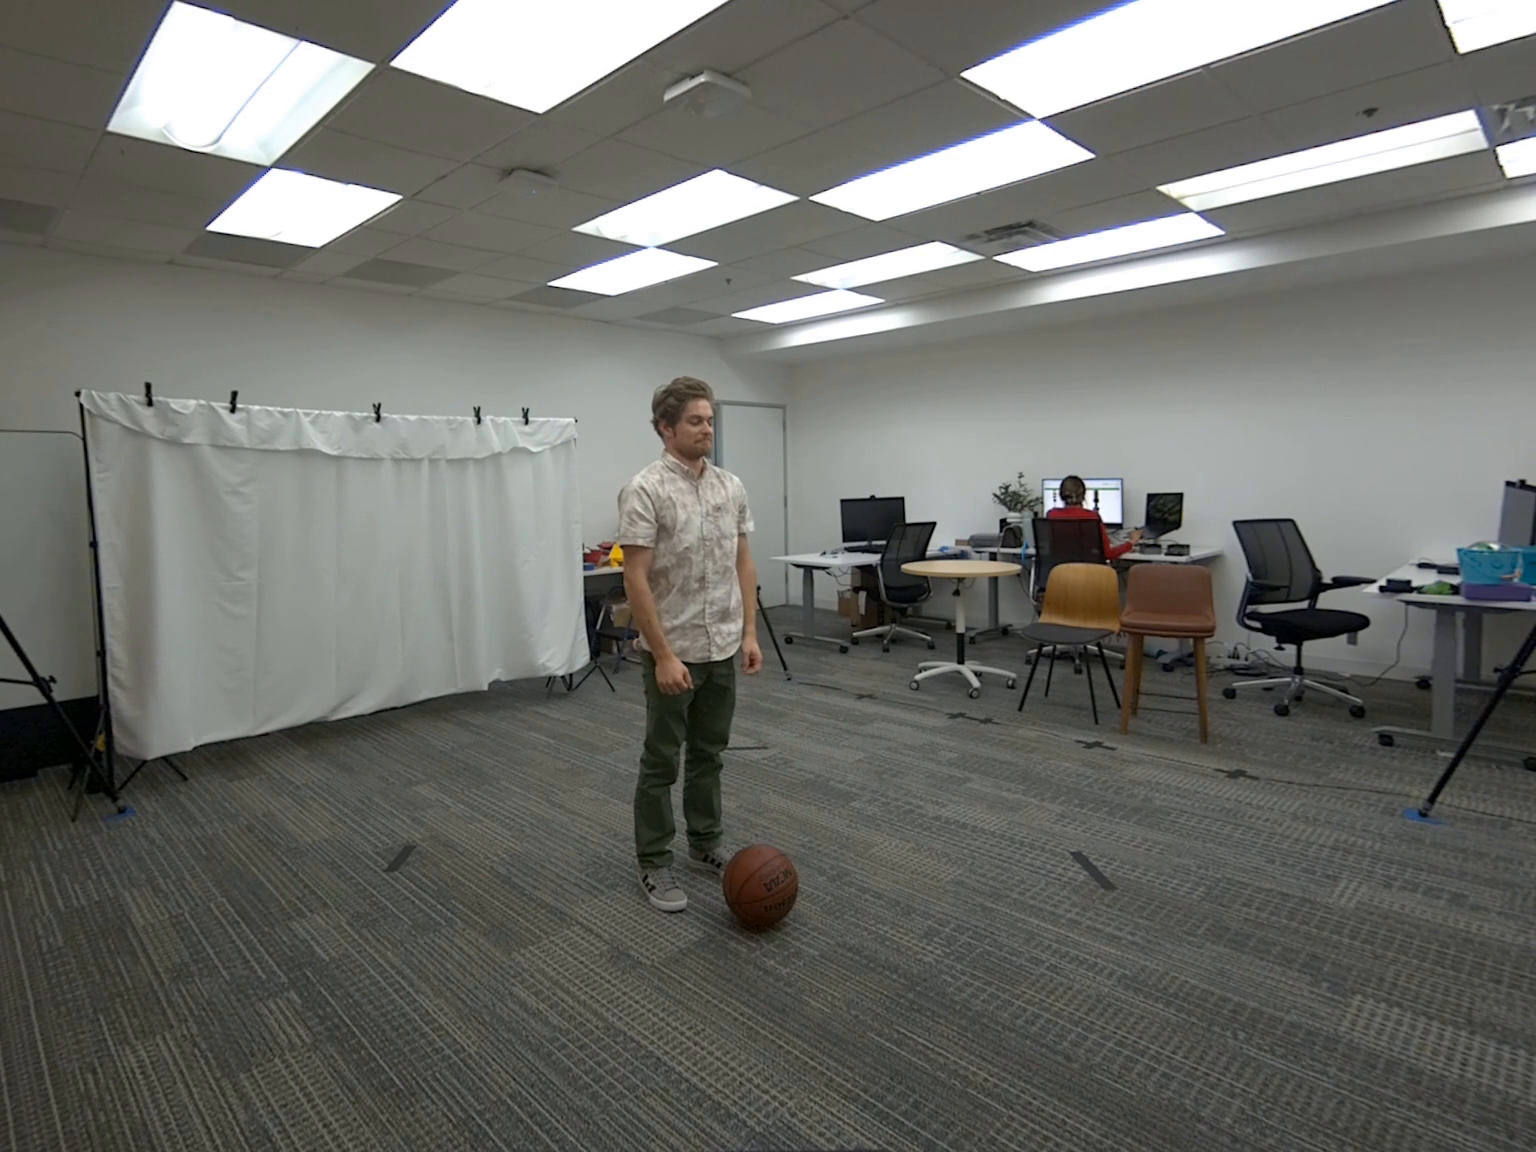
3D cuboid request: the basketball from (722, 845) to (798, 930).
[{"bbox_3d":[-0.021,0.968,2.690,0.236,0.235,0.237,-1,5,-2],"label":"basketball"}]
